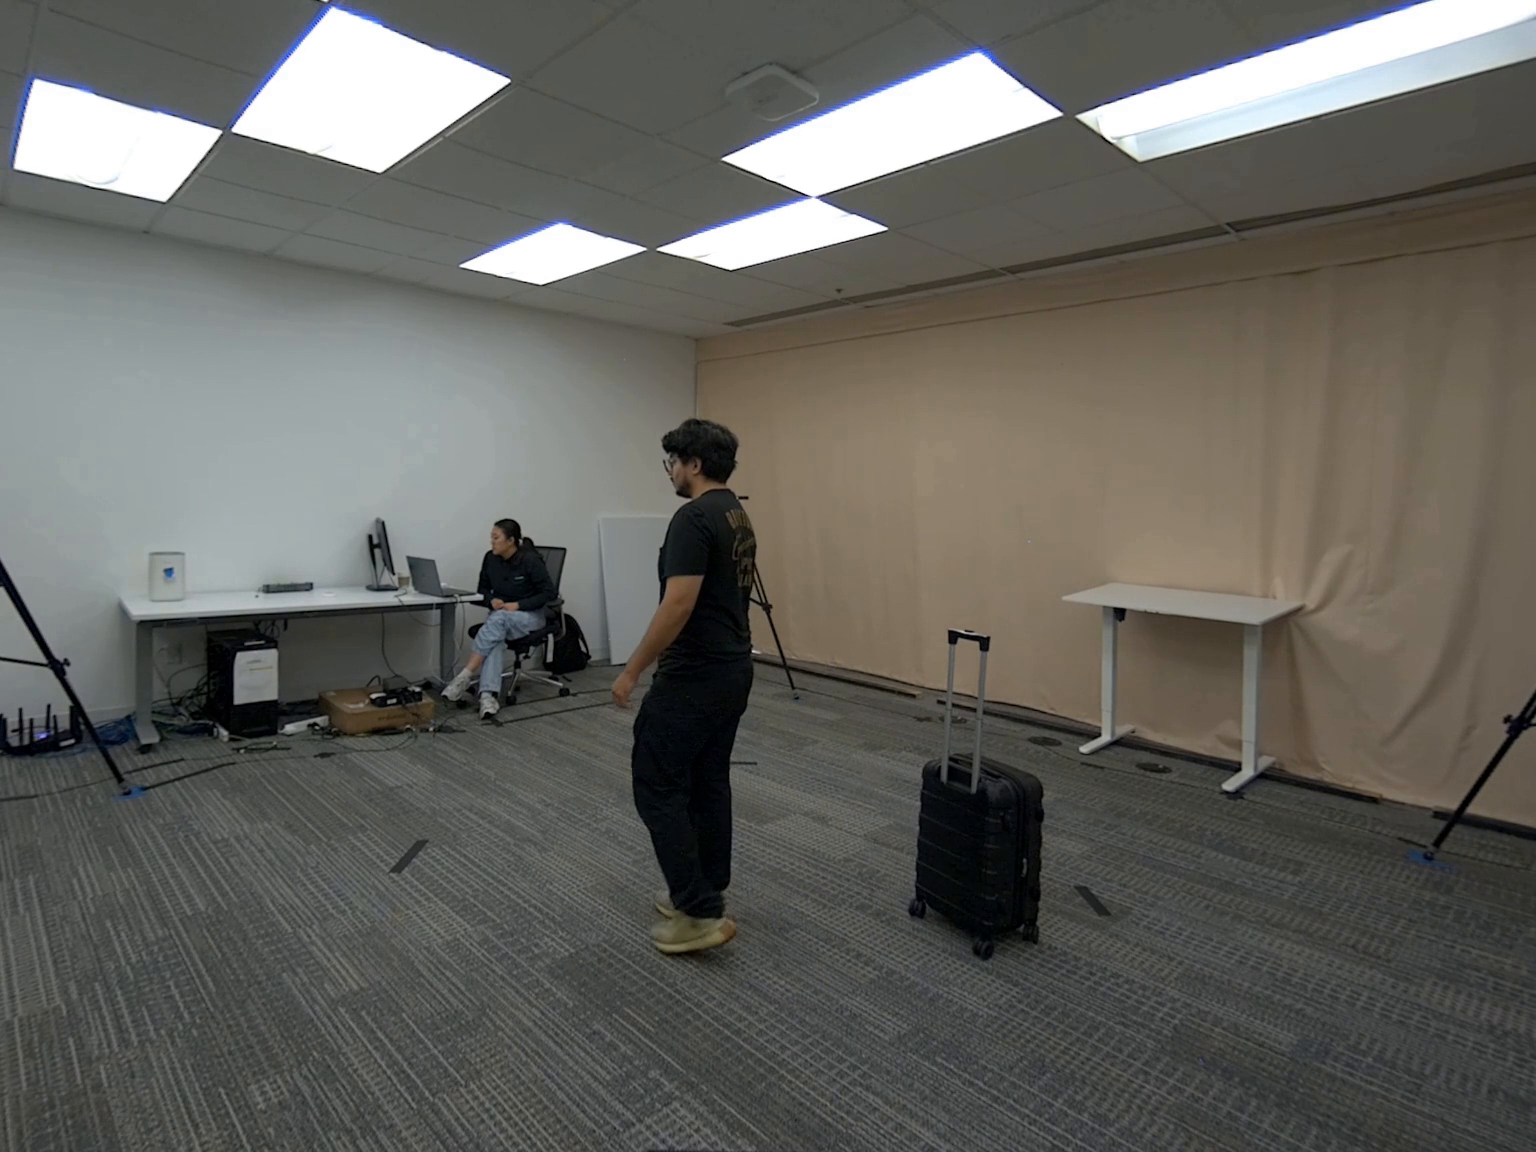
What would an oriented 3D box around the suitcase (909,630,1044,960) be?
[{"bbox_3d":[0.696,0.680,2.759,0.252,0.978,0.392,2,2,-30],"label":"suitcase"}]
